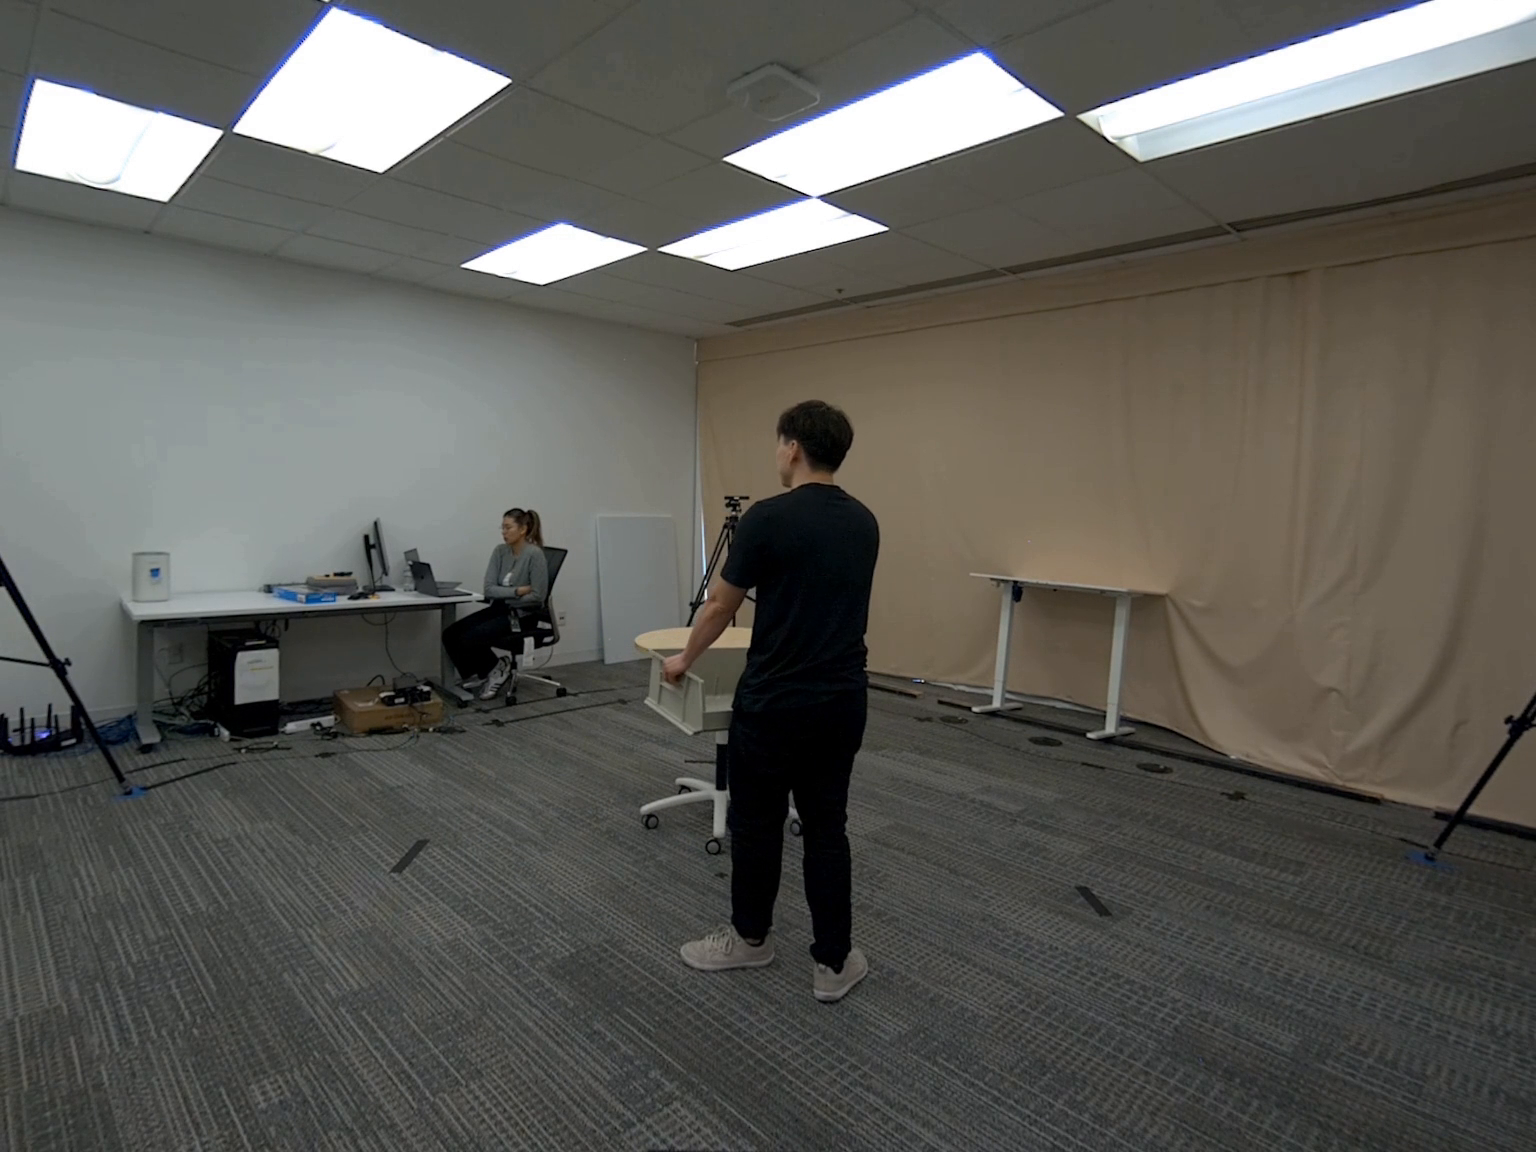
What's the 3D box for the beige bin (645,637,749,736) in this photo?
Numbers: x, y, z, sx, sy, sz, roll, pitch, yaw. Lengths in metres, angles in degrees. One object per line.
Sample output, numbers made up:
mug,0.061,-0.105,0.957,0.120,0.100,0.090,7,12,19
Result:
beige bin,-0.126,0.364,2.694,0.413,0.188,0.387,2,8,-34
